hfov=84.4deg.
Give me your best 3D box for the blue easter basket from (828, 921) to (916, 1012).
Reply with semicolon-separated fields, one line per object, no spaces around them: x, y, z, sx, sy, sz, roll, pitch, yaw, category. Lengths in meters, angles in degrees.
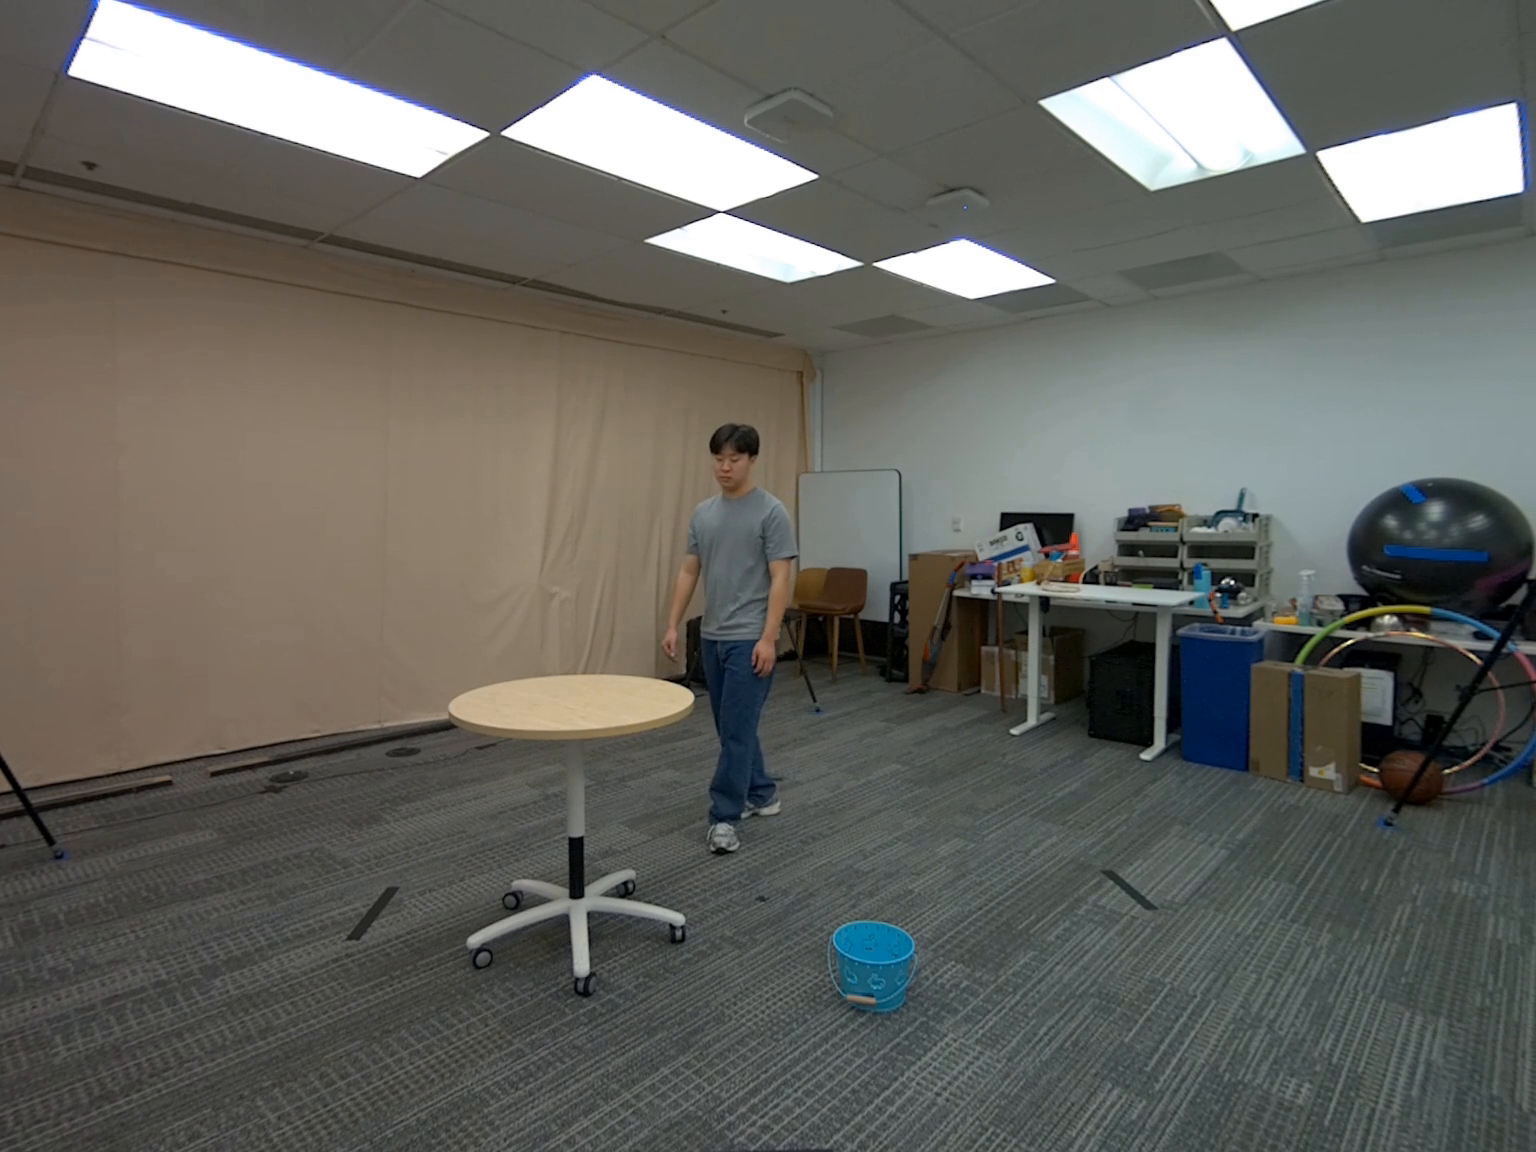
0.298;1.117;2.393;0.243;0.155;0.244;1;4;-2;blue easter basket
